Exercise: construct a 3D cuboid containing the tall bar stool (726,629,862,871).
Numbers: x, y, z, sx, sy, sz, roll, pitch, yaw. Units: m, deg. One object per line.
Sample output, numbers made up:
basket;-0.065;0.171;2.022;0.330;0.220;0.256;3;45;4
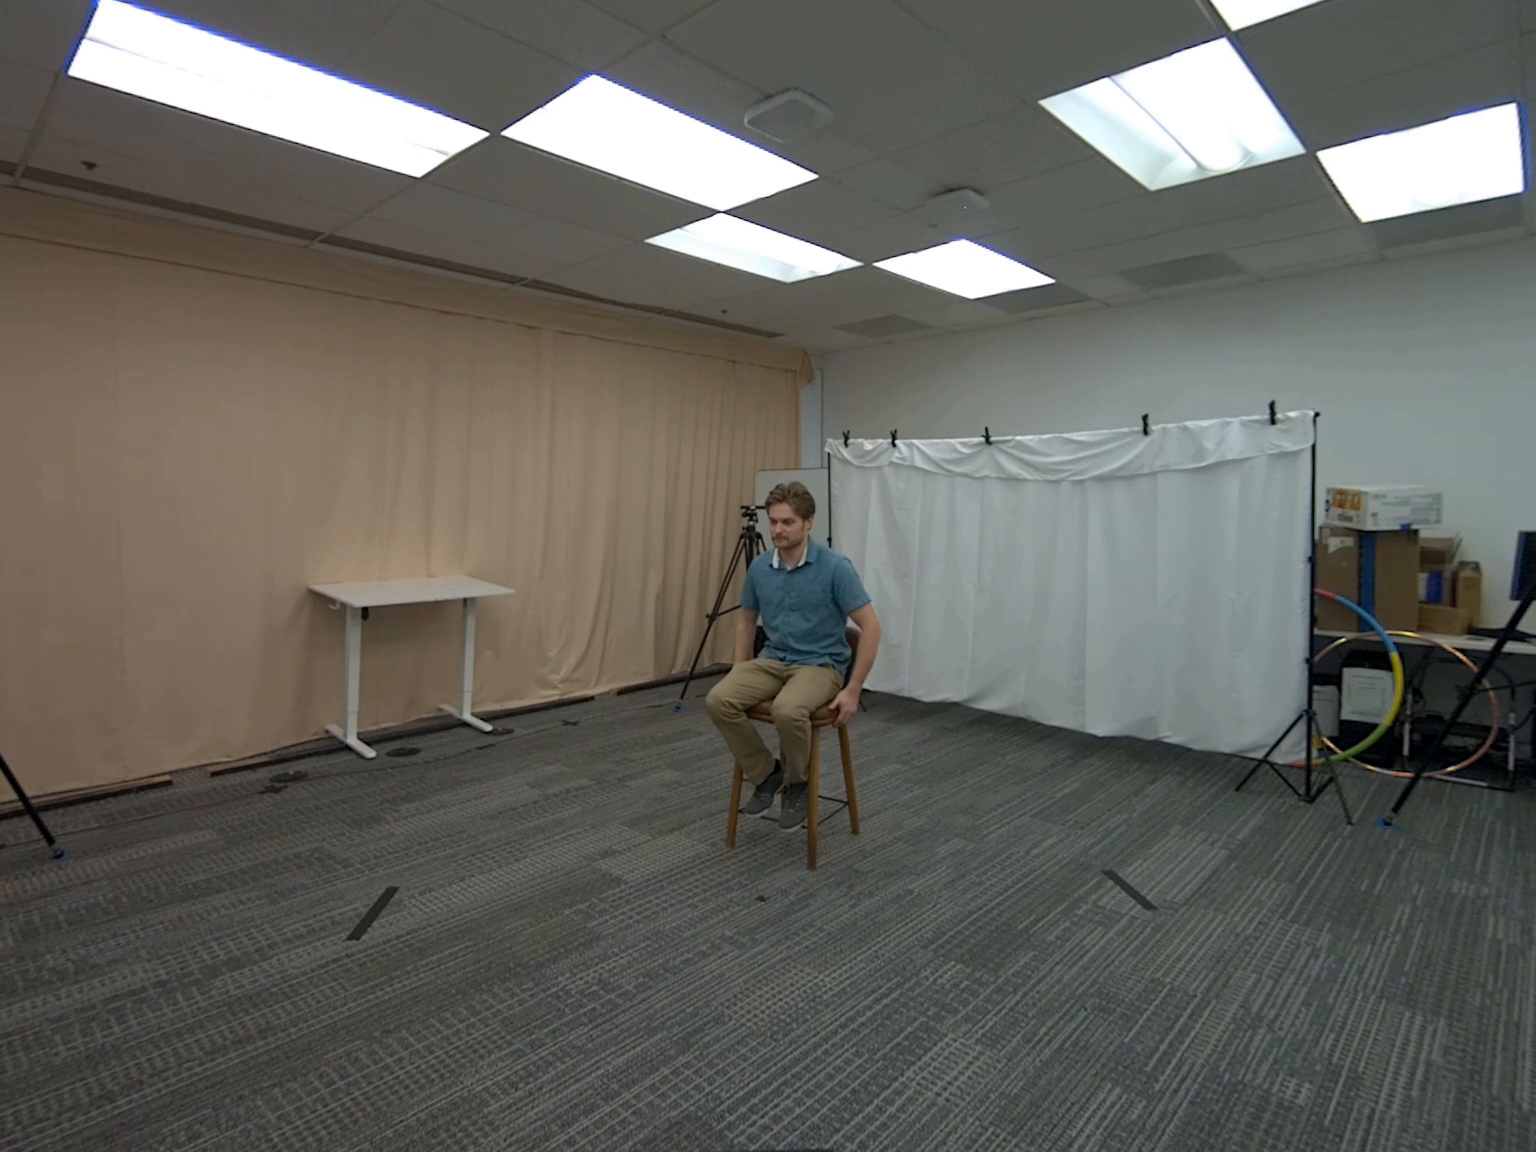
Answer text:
tall bar stool;0.128;0.666;3.490;0.471;0.889;0.454;4;2;33
